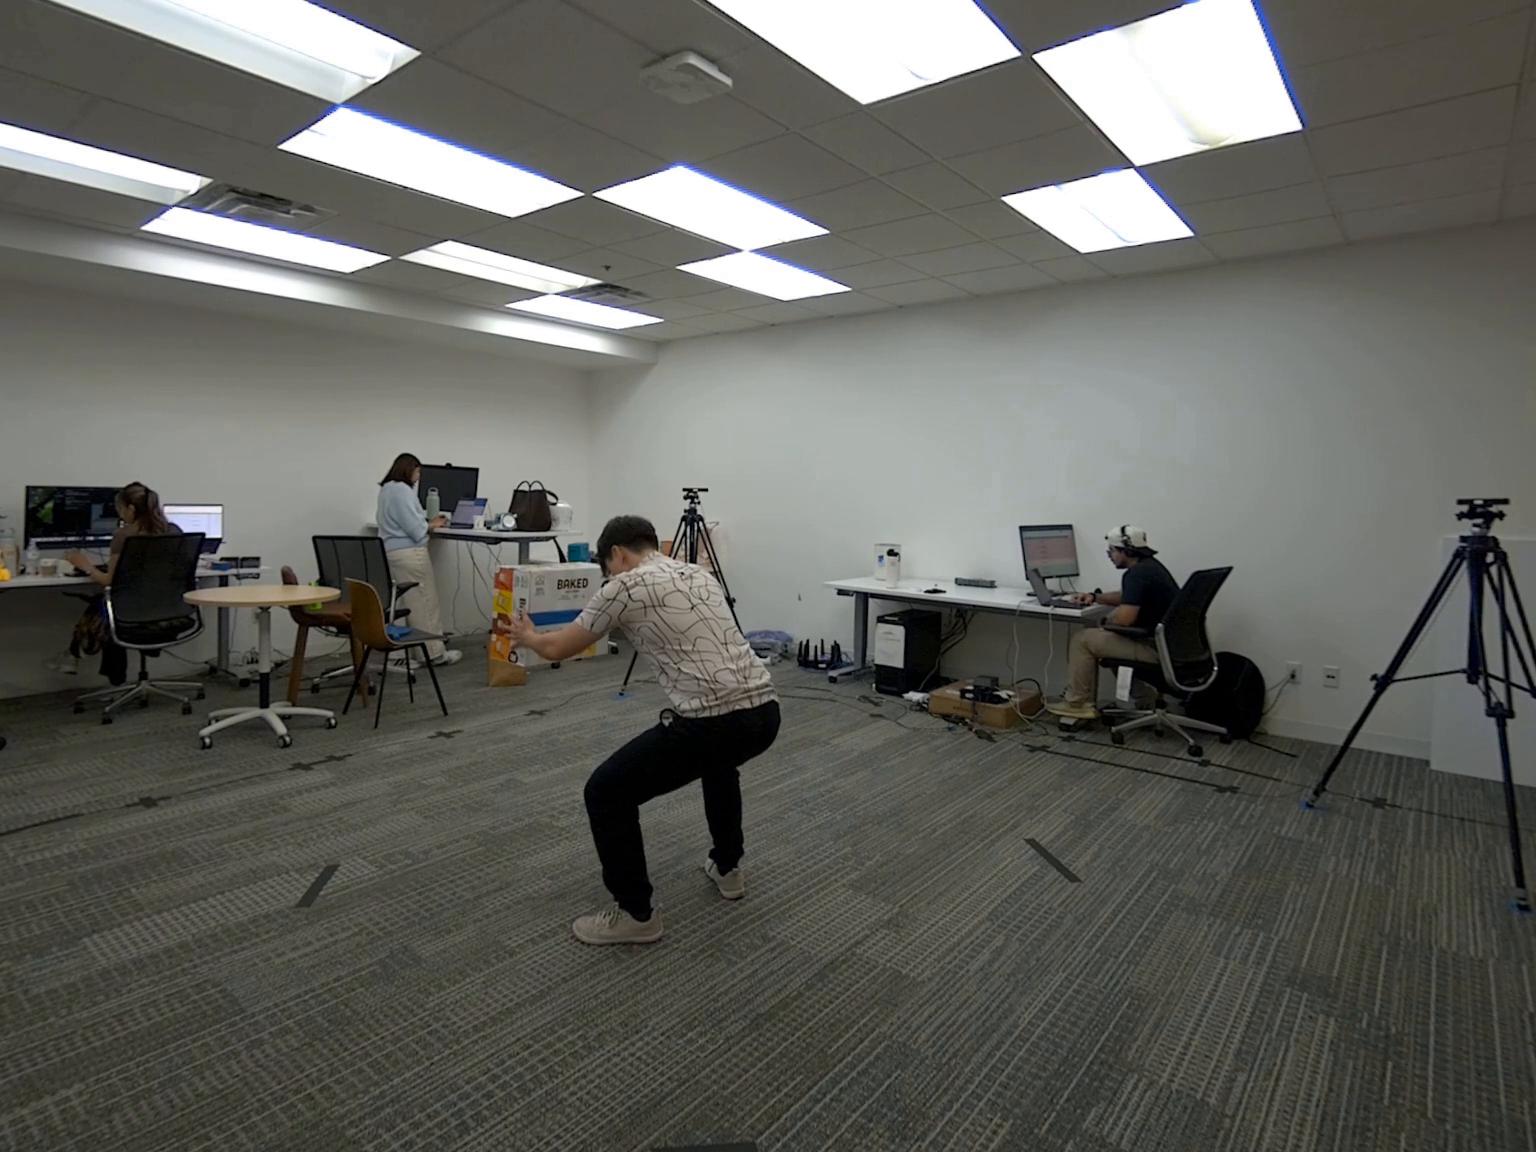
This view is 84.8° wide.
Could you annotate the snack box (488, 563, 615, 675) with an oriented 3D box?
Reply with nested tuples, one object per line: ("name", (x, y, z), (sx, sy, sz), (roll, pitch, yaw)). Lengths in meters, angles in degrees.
("snack box", (-0.820, 0.131, 3.199), (0.213, 0.339, 0.393), (7, 6, 37))
